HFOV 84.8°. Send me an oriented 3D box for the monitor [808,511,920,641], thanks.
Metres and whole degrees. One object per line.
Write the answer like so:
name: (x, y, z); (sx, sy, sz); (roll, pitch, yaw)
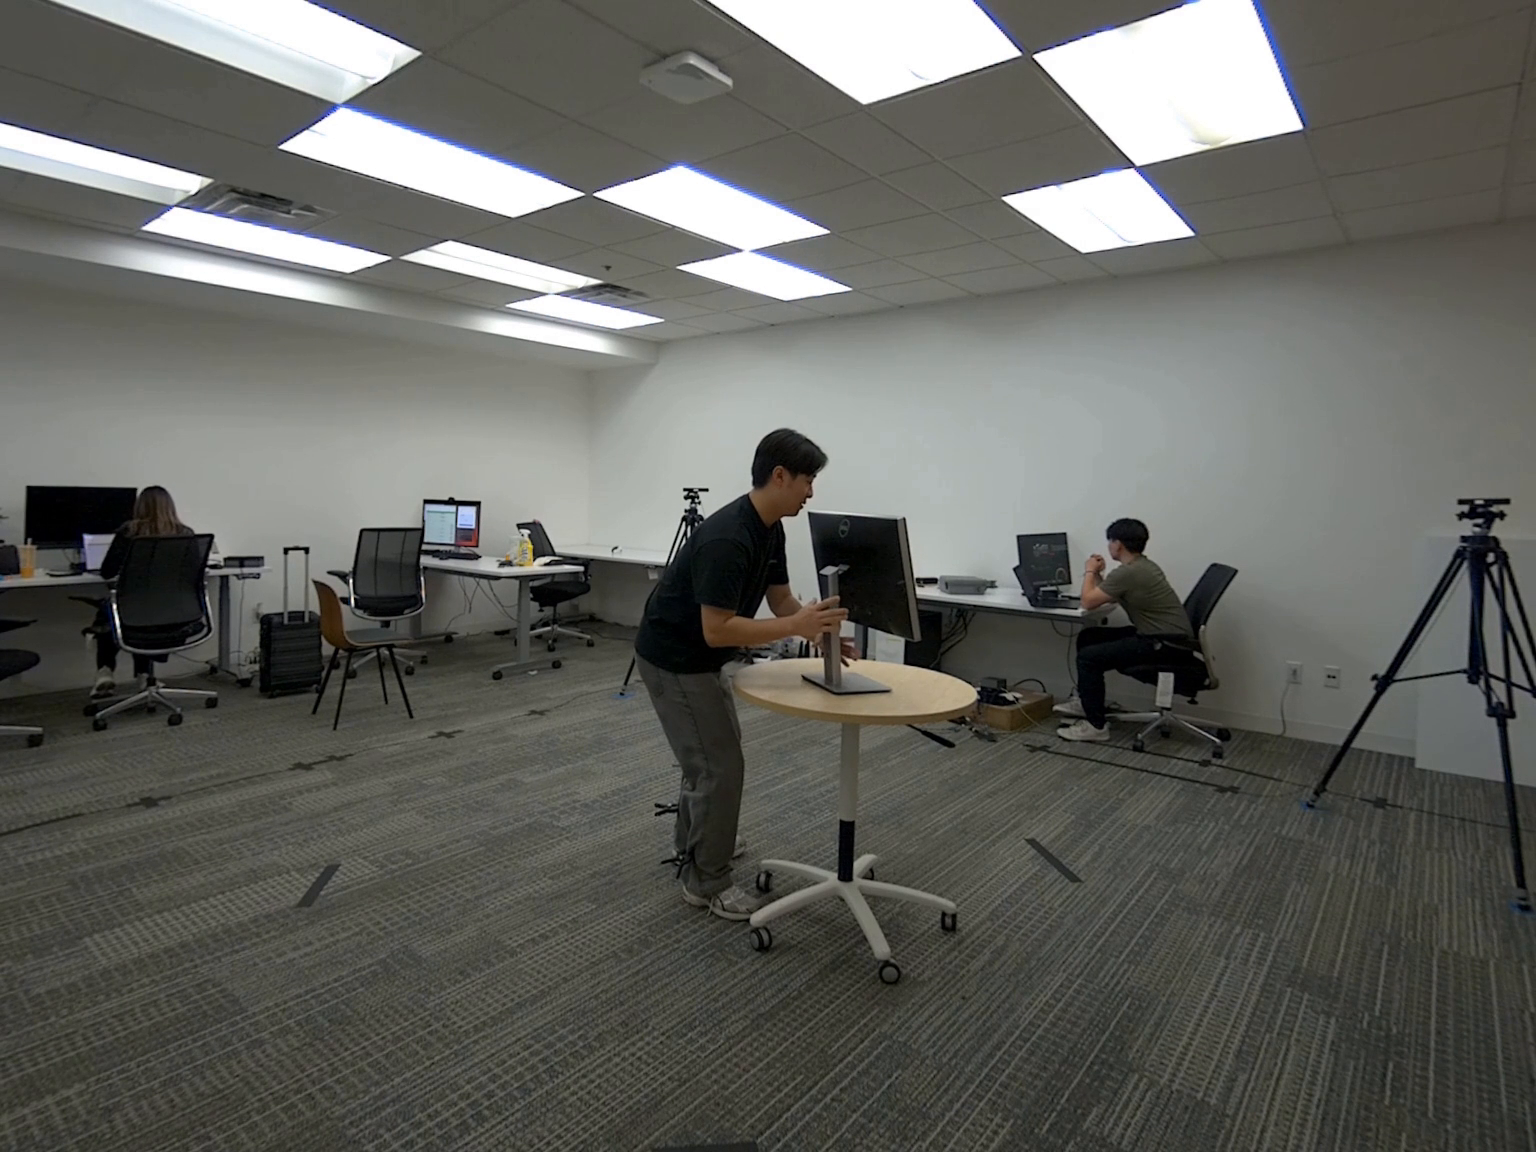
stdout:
monitor: (0.252, 0.084, 2.665); (0.217, 0.564, 0.576); (3, 4, -21)
